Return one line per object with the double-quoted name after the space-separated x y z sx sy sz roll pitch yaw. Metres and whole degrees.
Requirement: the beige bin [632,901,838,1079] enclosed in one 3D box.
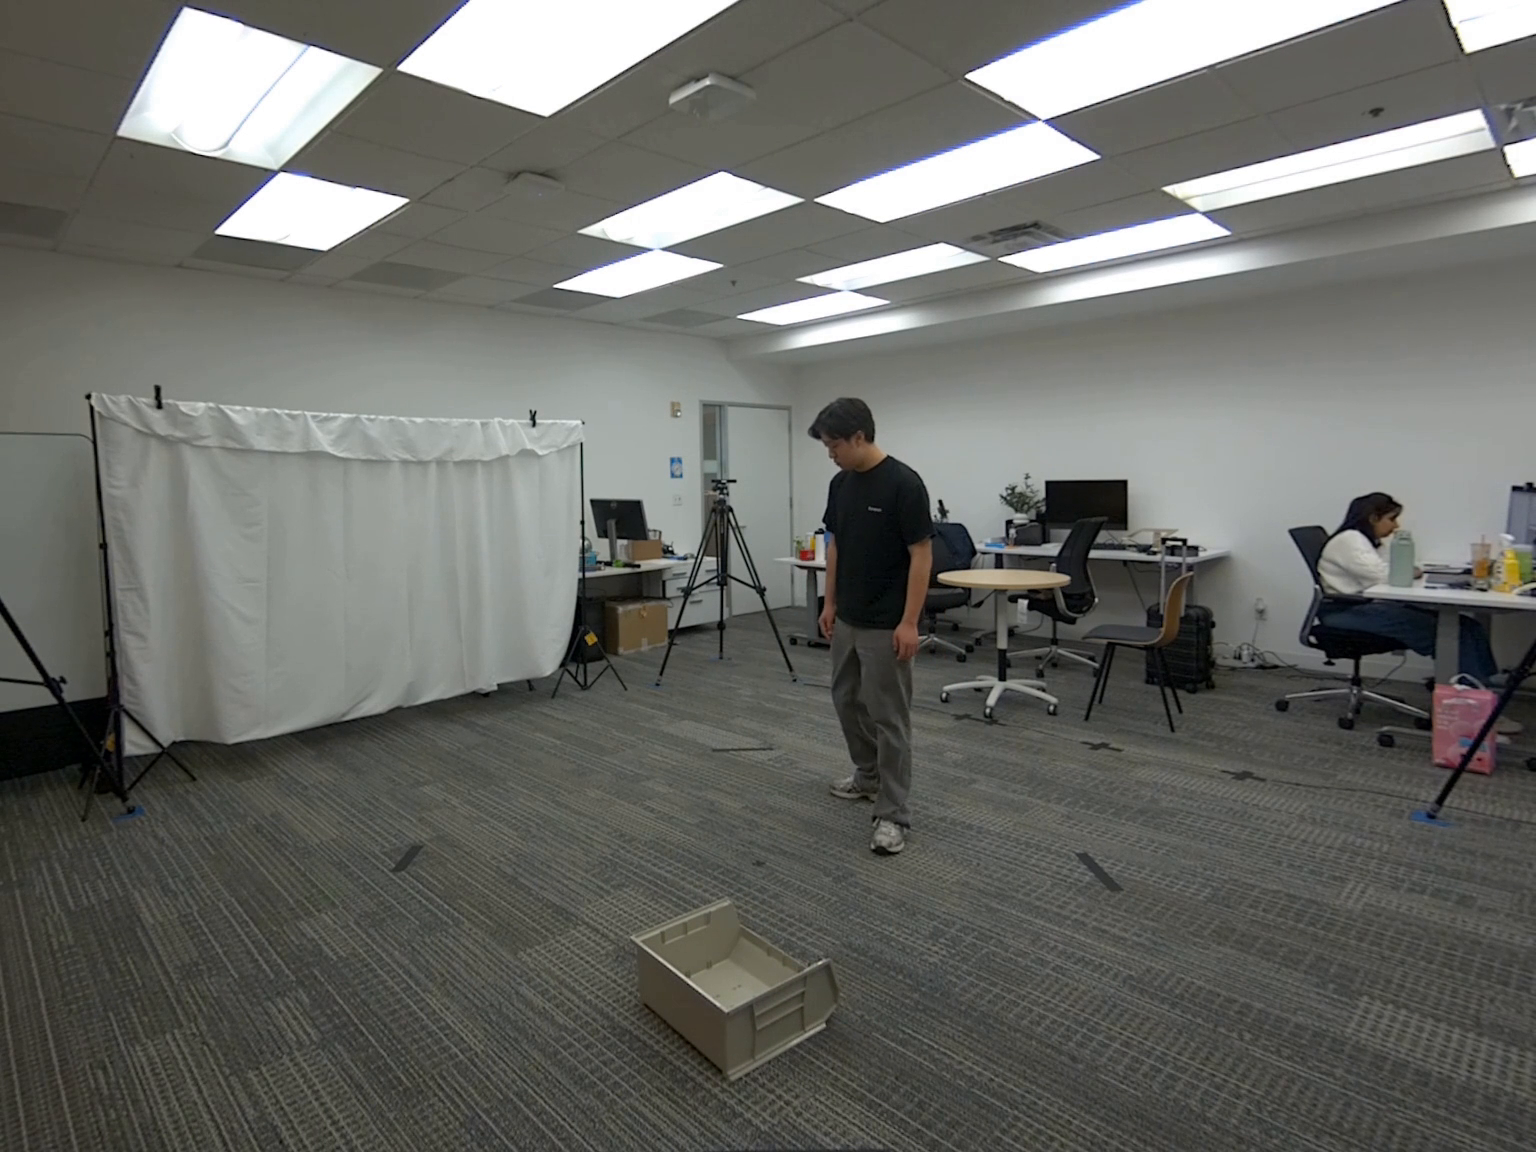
-0.085 1.059 2.250 0.368 0.188 0.435 -8 9 -39 "beige bin"
